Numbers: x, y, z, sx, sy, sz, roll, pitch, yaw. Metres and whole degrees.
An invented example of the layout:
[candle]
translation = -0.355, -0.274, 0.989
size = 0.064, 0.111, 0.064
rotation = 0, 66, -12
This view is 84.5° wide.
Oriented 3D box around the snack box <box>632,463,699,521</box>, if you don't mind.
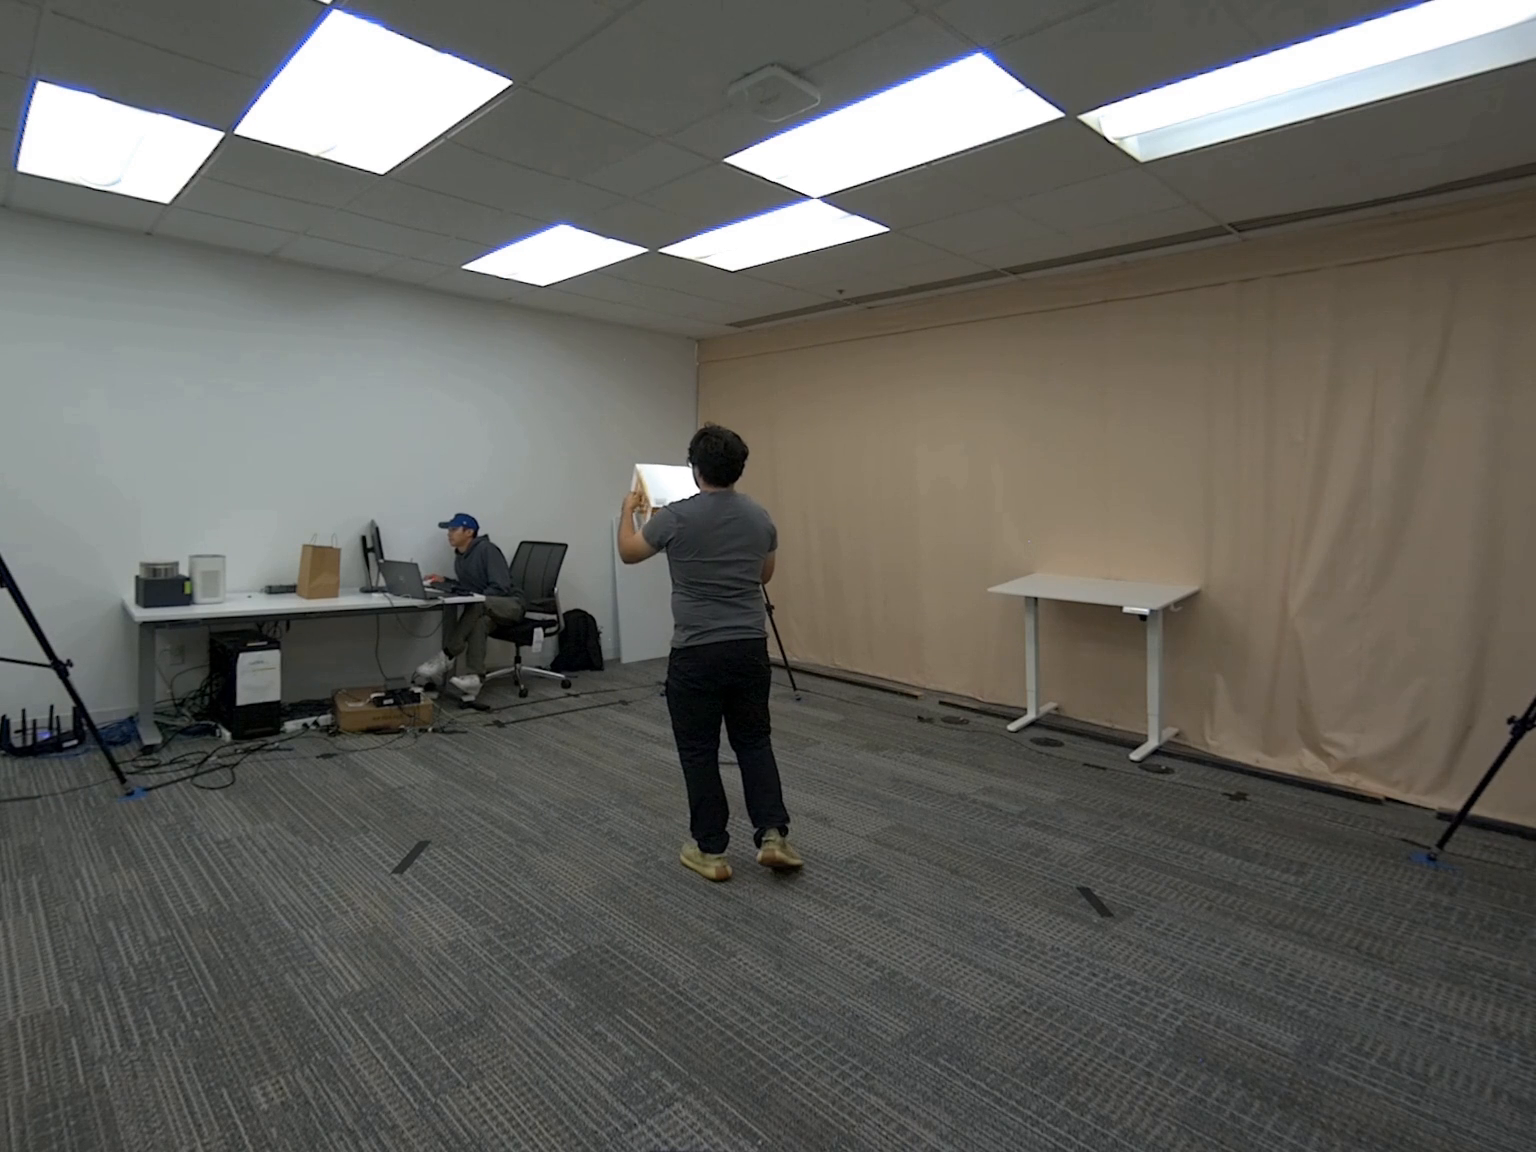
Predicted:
[snack box]
translation = -0.369, -0.276, 3.482
size = 0.335, 0.203, 0.417
rotation = 2, 31, -19
